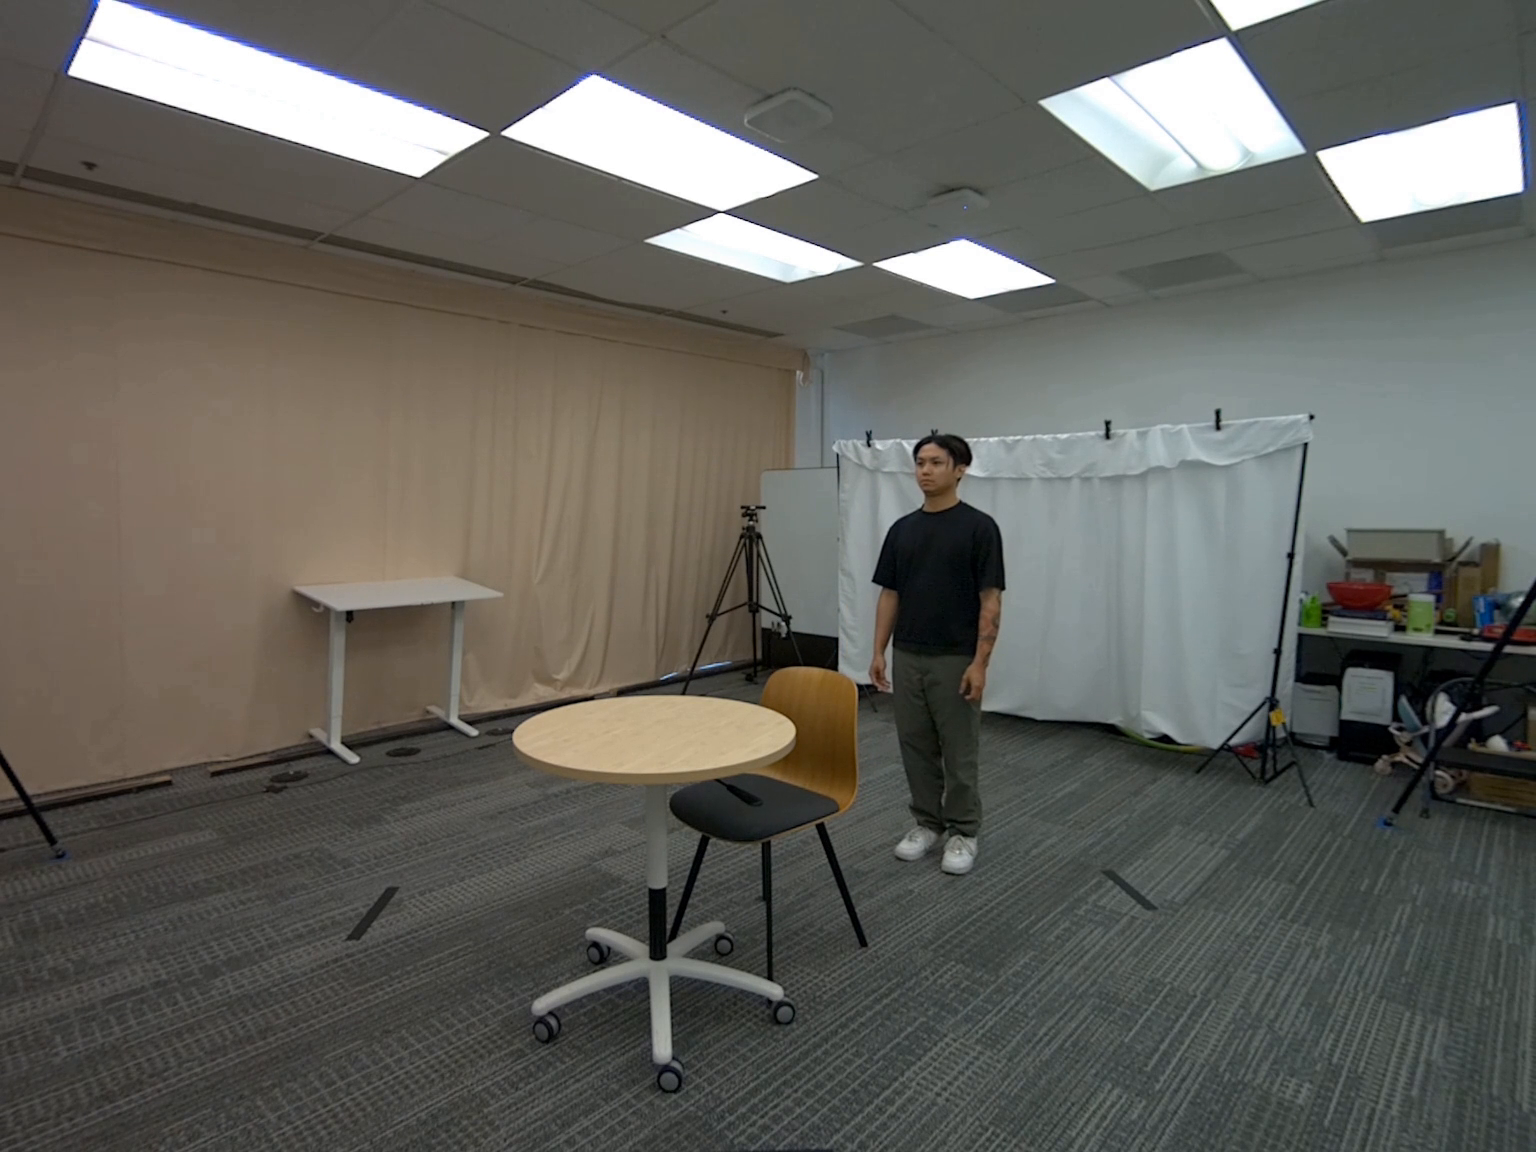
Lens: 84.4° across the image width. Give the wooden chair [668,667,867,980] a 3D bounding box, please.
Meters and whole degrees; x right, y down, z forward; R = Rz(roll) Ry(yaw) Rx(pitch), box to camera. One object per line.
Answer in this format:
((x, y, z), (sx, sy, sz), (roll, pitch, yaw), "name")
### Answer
((-0.002, 0.749, 2.632), (0.506, 0.877, 0.494), (2, 1, -45), "wooden chair")
